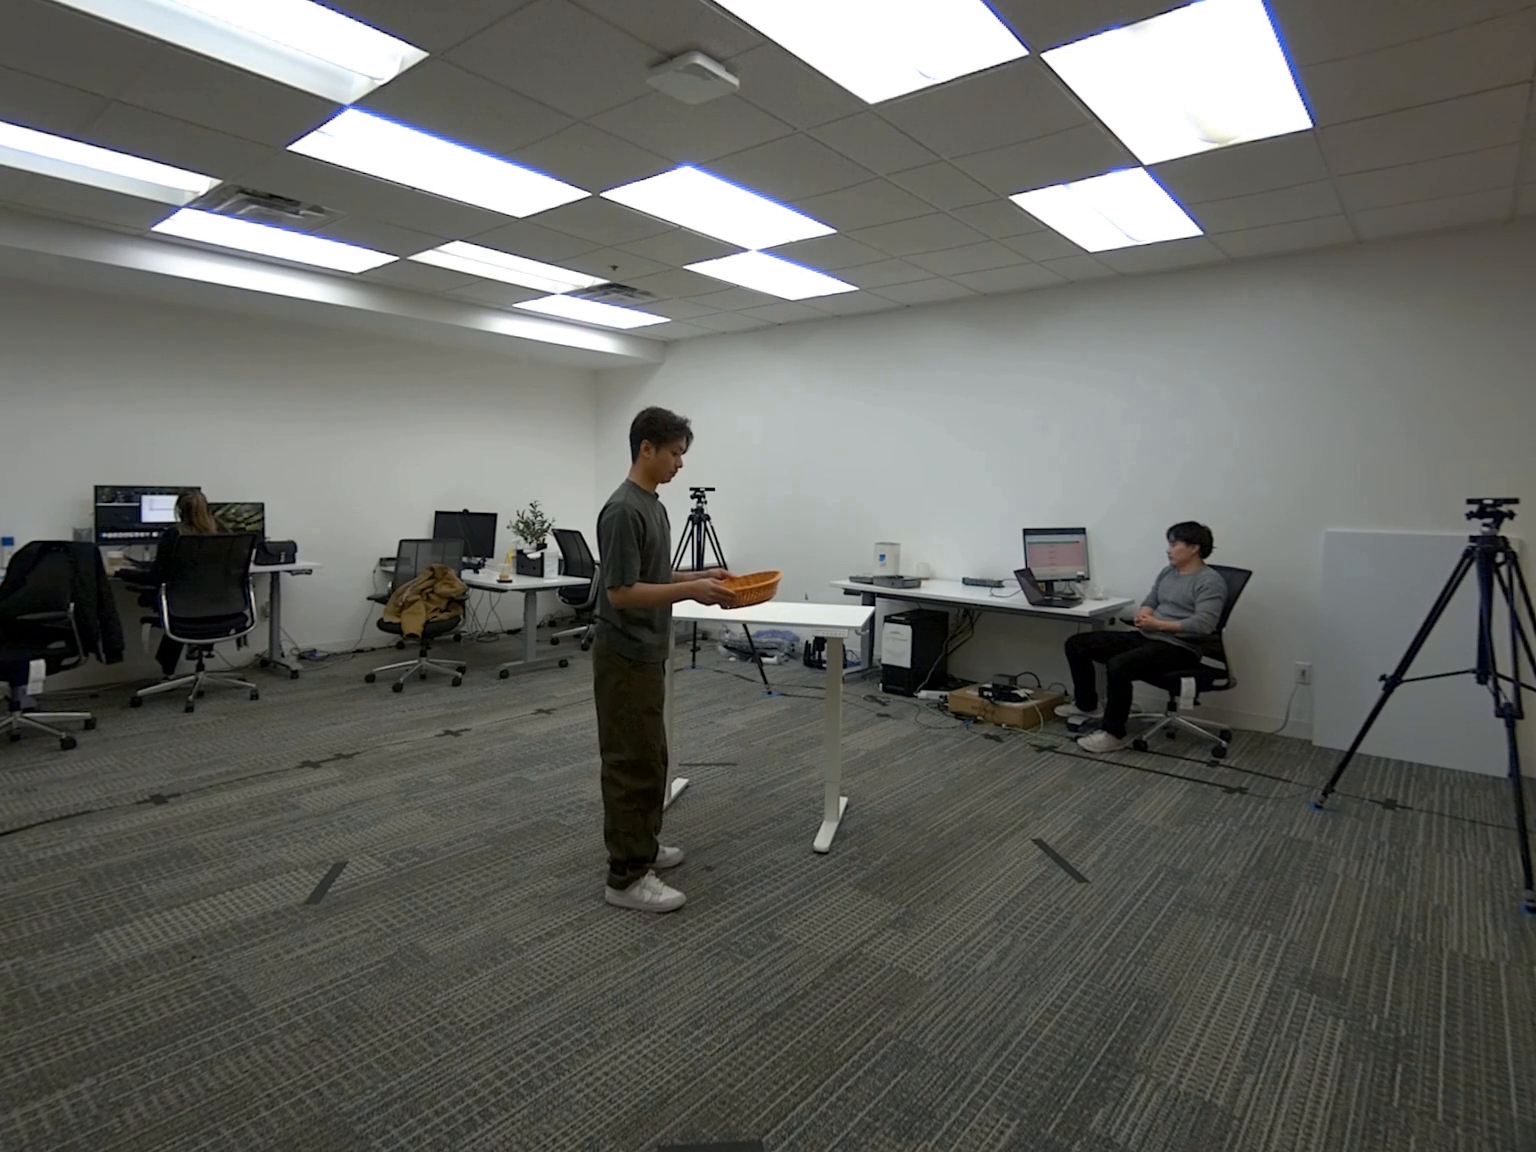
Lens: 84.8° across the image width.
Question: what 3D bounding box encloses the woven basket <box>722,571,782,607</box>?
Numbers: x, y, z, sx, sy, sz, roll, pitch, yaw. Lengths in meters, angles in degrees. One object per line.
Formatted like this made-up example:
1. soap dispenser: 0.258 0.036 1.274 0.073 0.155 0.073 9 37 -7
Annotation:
1. woven basket: -0.092 0.054 2.900 0.252 0.073 0.353 -9 7 -3
